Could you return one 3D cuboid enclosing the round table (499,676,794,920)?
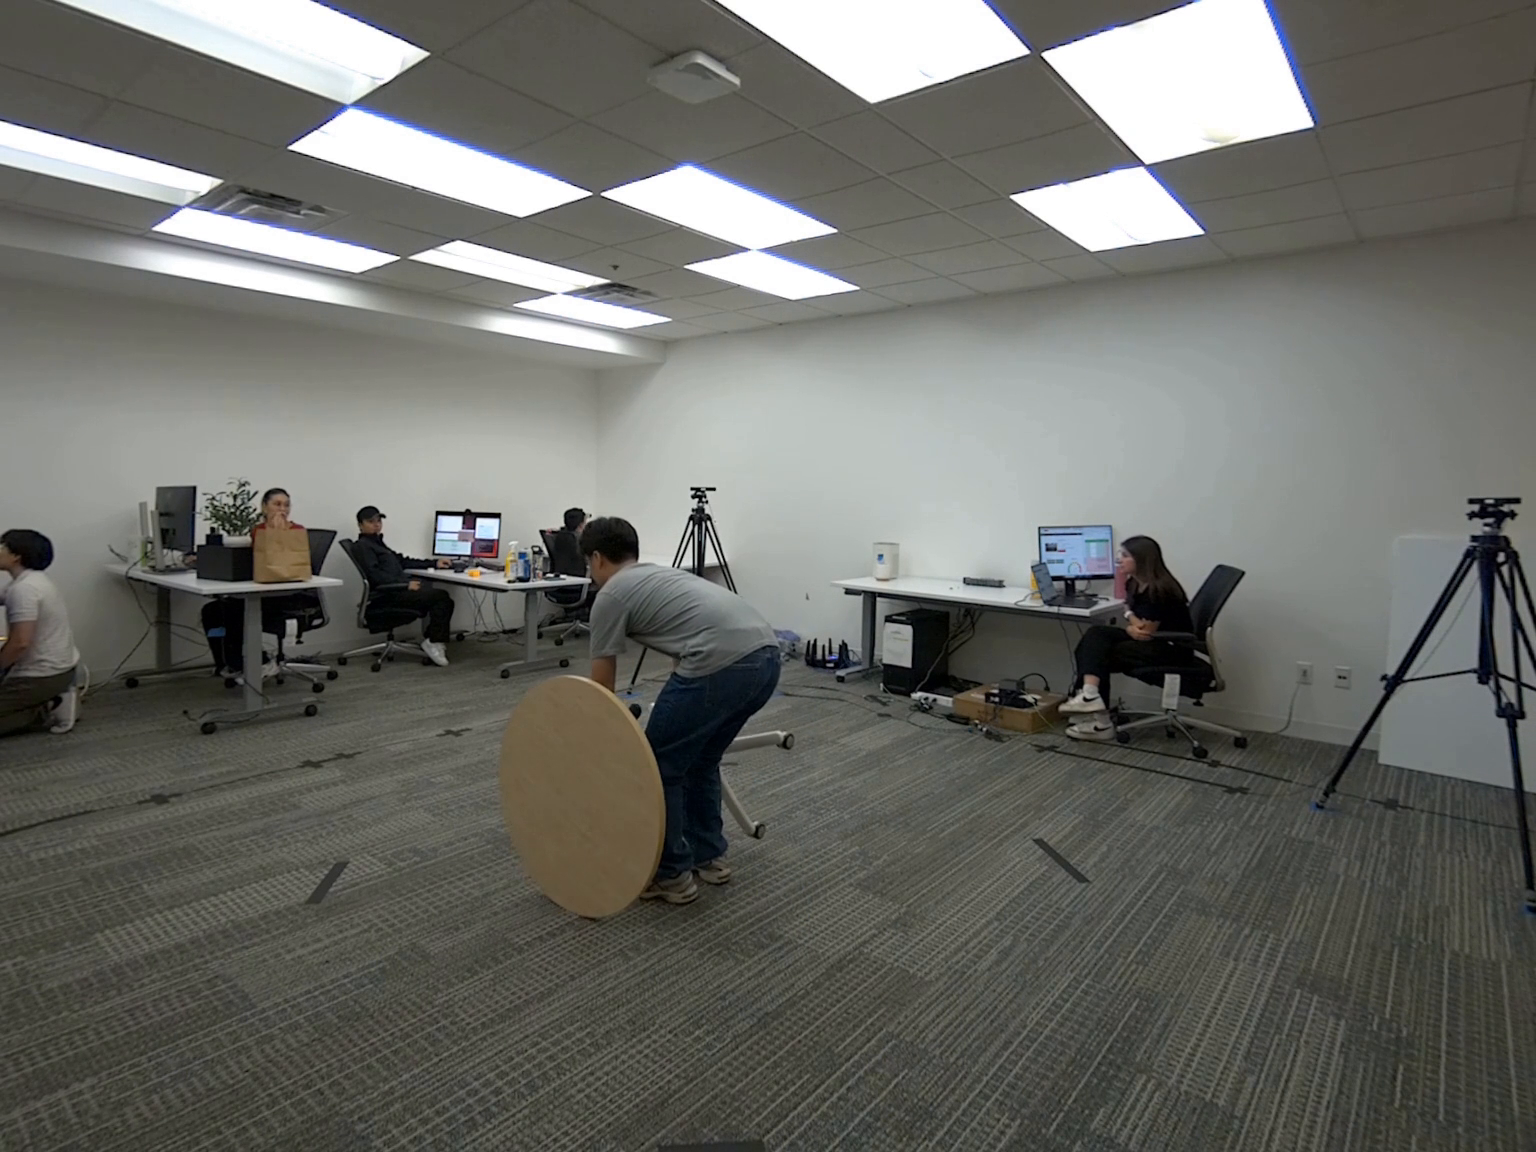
[{"bbox_3d":[-0.421,0.688,3.073,0.789,0.762,0.770,4,4,36],"label":"round table"}]
